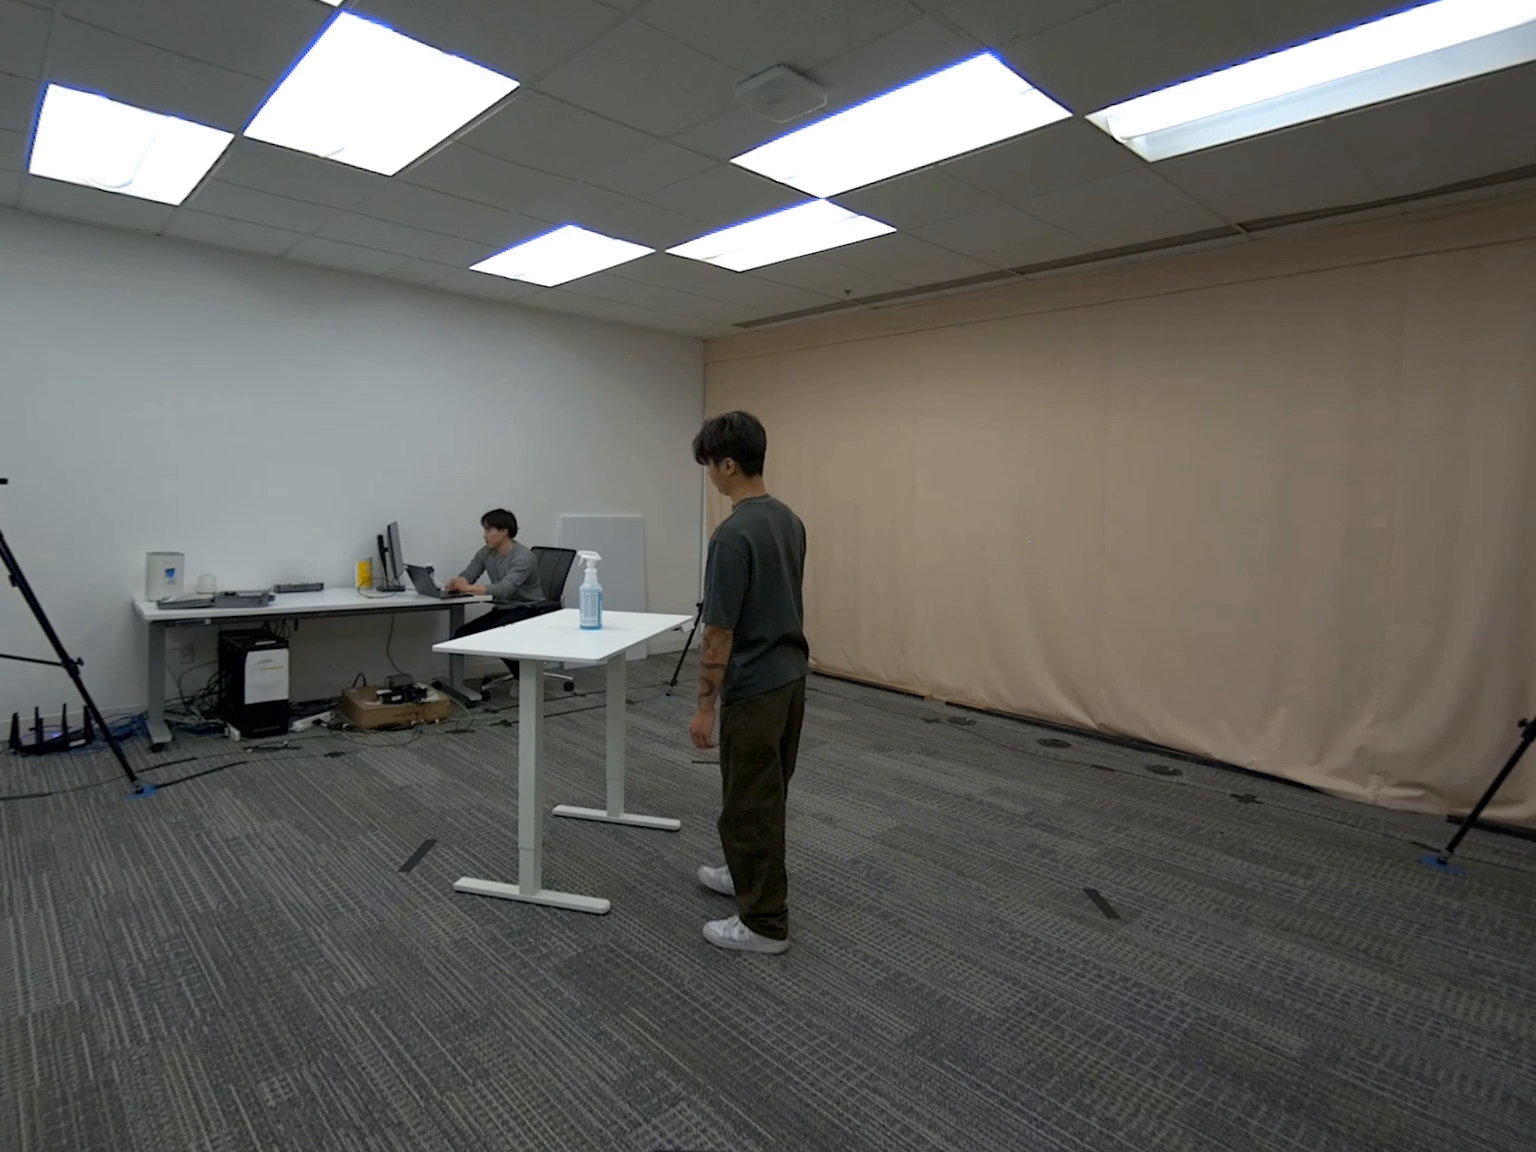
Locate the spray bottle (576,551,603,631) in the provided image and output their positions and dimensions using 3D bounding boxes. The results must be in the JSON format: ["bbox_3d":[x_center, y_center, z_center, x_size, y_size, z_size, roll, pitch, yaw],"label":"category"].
[{"bbox_3d":[-0.687,0.056,3.222,0.092,0.297,0.085,2,3,31],"label":"spray bottle"}]
